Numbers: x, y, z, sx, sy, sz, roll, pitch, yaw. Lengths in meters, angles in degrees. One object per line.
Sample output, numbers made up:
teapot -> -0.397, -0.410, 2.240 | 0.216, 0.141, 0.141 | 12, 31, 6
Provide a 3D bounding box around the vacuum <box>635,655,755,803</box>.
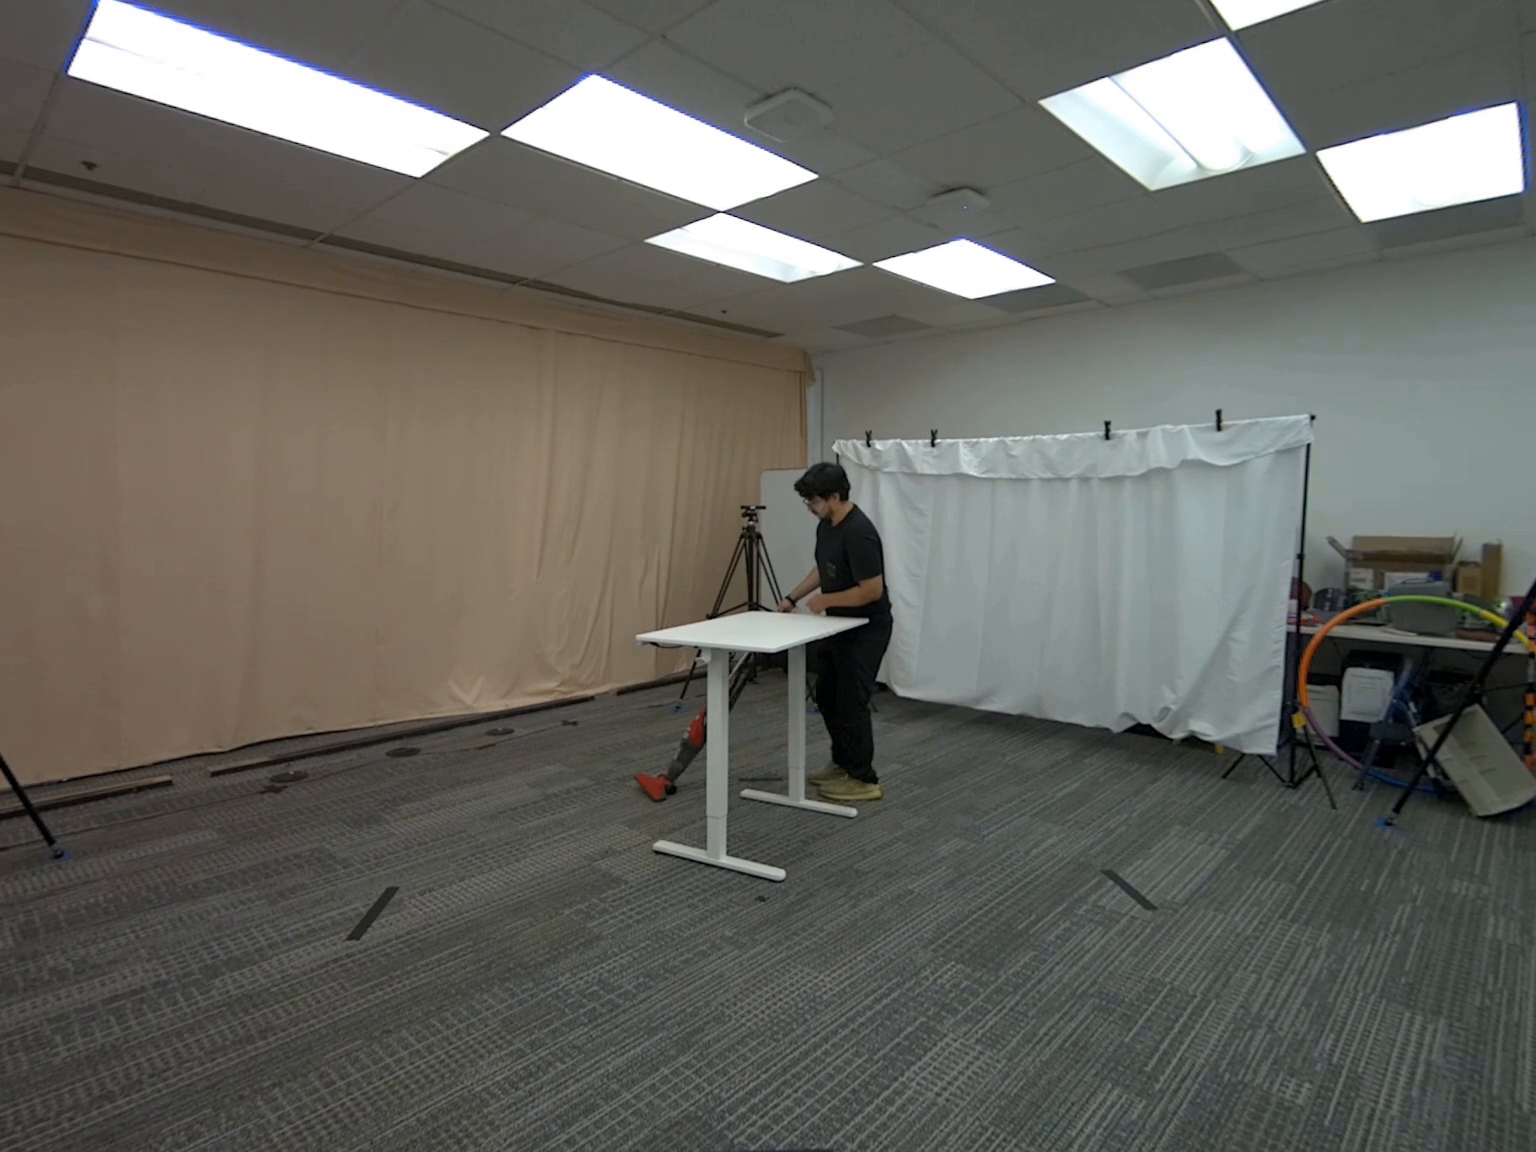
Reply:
vacuum -> -0.239, 0.627, 4.191 | 0.139, 1.047, 0.261 | 44, -13, -34
